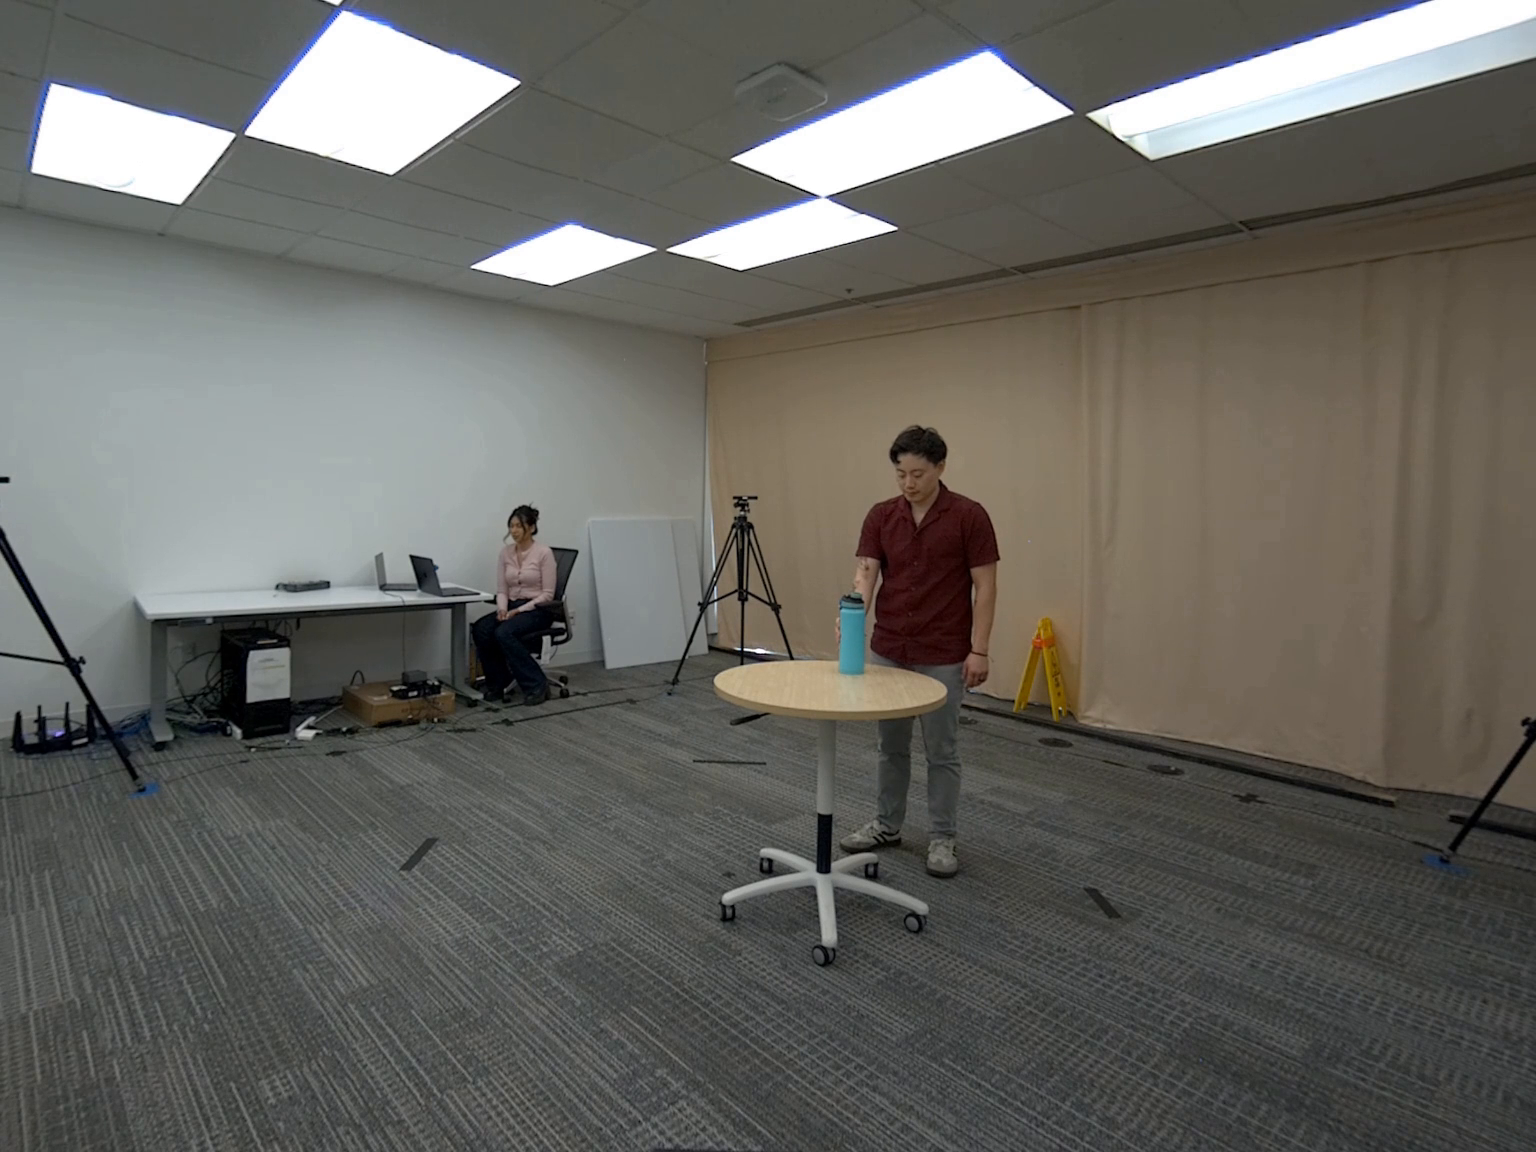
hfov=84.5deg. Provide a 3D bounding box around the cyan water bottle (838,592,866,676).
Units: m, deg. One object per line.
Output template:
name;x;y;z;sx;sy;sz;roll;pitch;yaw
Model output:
cyan water bottle;0.290;0.201;2.968;0.092;0.282;0.093;0;6;-1
